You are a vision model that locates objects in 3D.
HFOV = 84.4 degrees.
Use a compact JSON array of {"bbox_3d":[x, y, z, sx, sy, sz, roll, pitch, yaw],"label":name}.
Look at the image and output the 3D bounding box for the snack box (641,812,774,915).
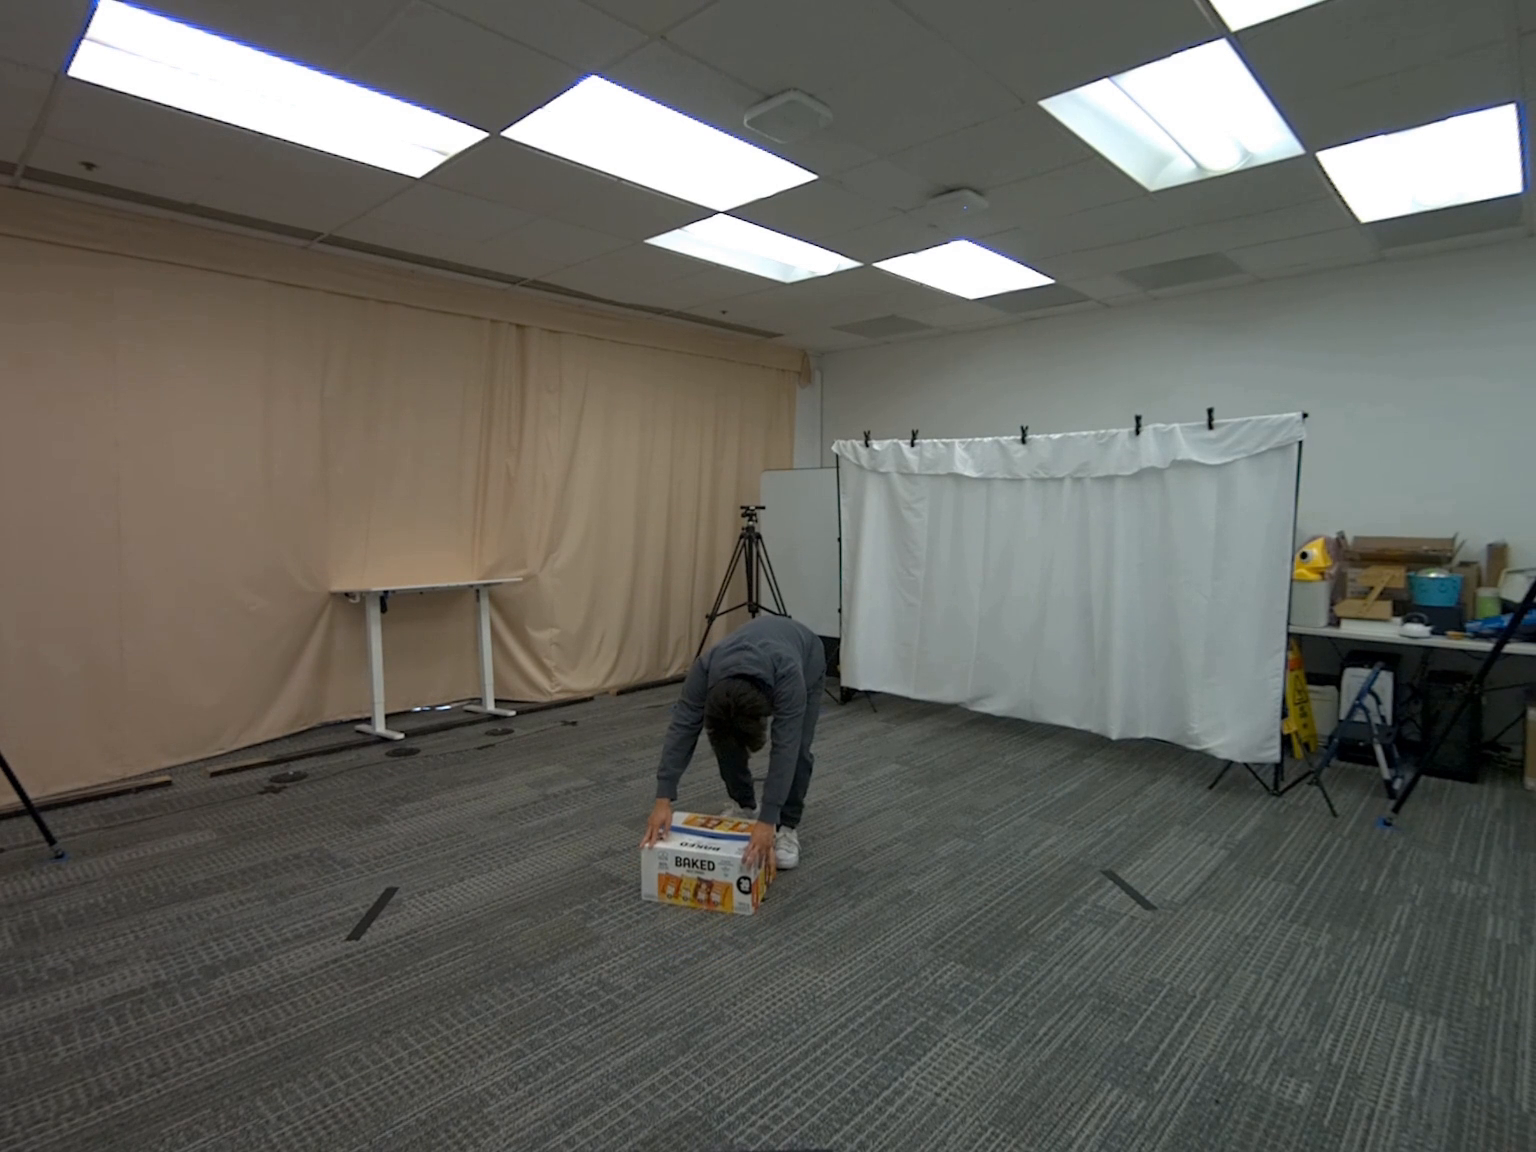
[{"bbox_3d":[-0.207,1.039,3.069,0.412,0.205,0.335,1,4,16],"label":"snack box"}]
